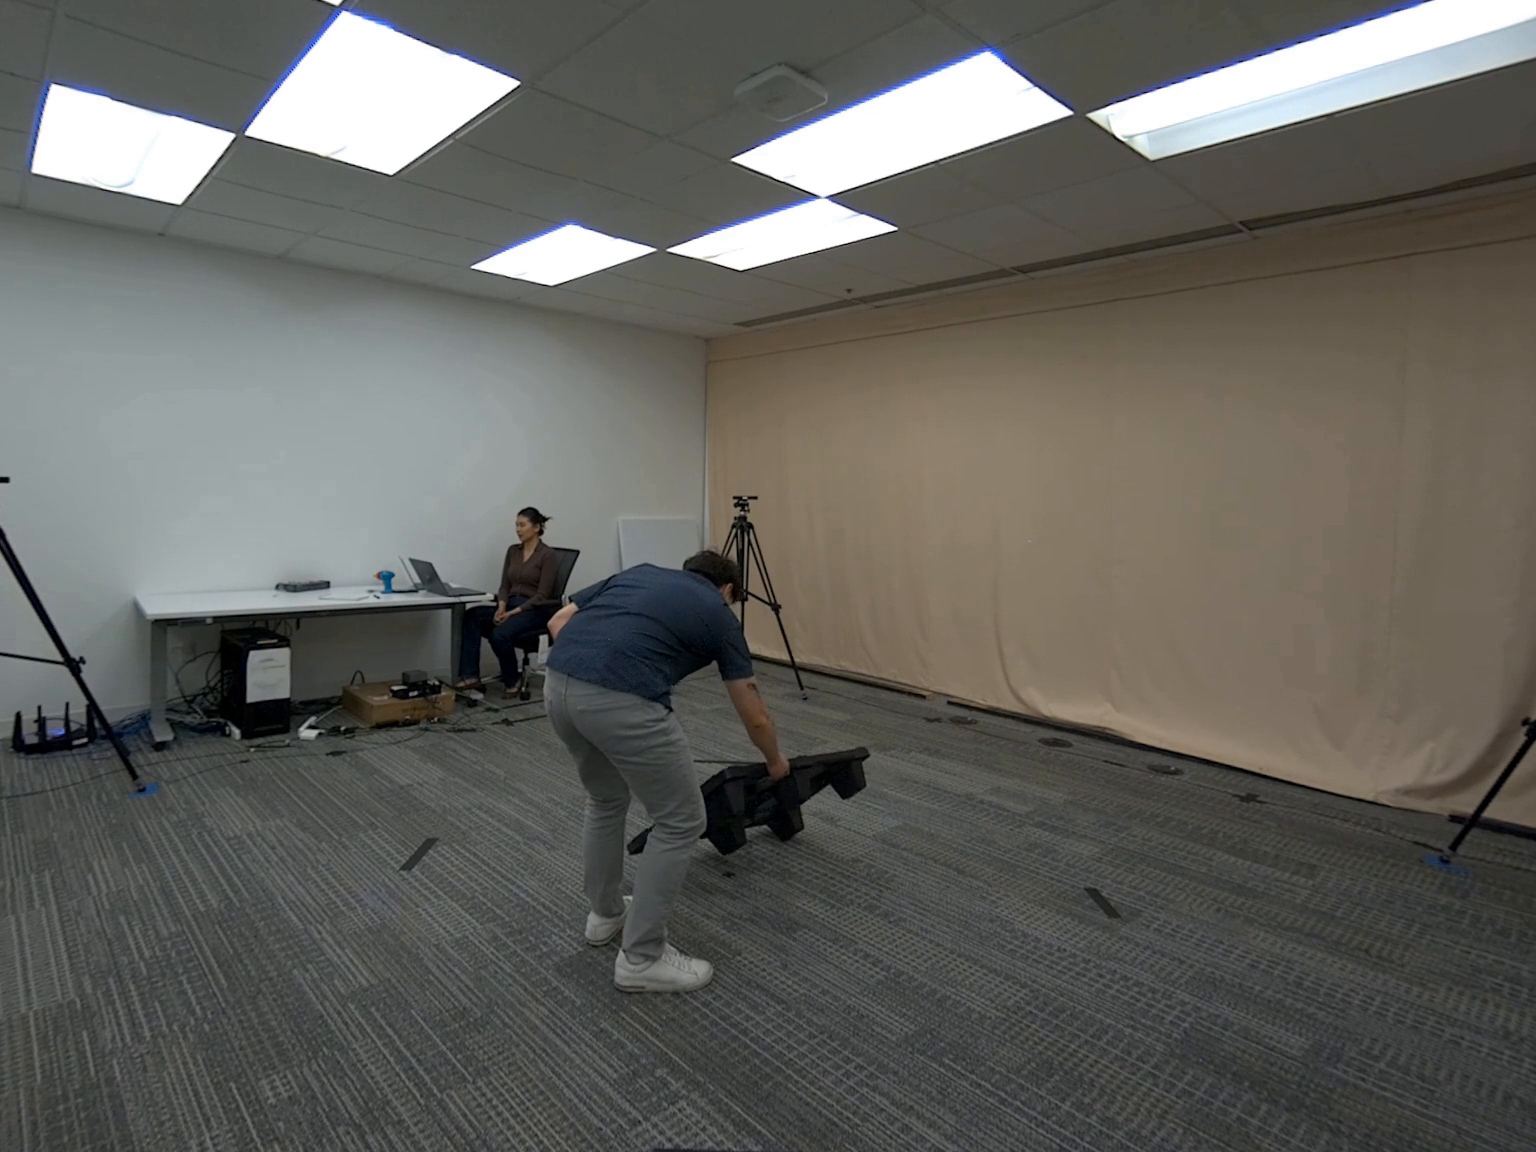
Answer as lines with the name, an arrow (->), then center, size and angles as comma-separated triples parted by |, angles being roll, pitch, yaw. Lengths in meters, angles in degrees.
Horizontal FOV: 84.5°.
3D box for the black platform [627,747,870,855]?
black platform -> -0.033, 0.866, 3.098 | 0.785, 0.147, 0.606 | 4, -39, -48
